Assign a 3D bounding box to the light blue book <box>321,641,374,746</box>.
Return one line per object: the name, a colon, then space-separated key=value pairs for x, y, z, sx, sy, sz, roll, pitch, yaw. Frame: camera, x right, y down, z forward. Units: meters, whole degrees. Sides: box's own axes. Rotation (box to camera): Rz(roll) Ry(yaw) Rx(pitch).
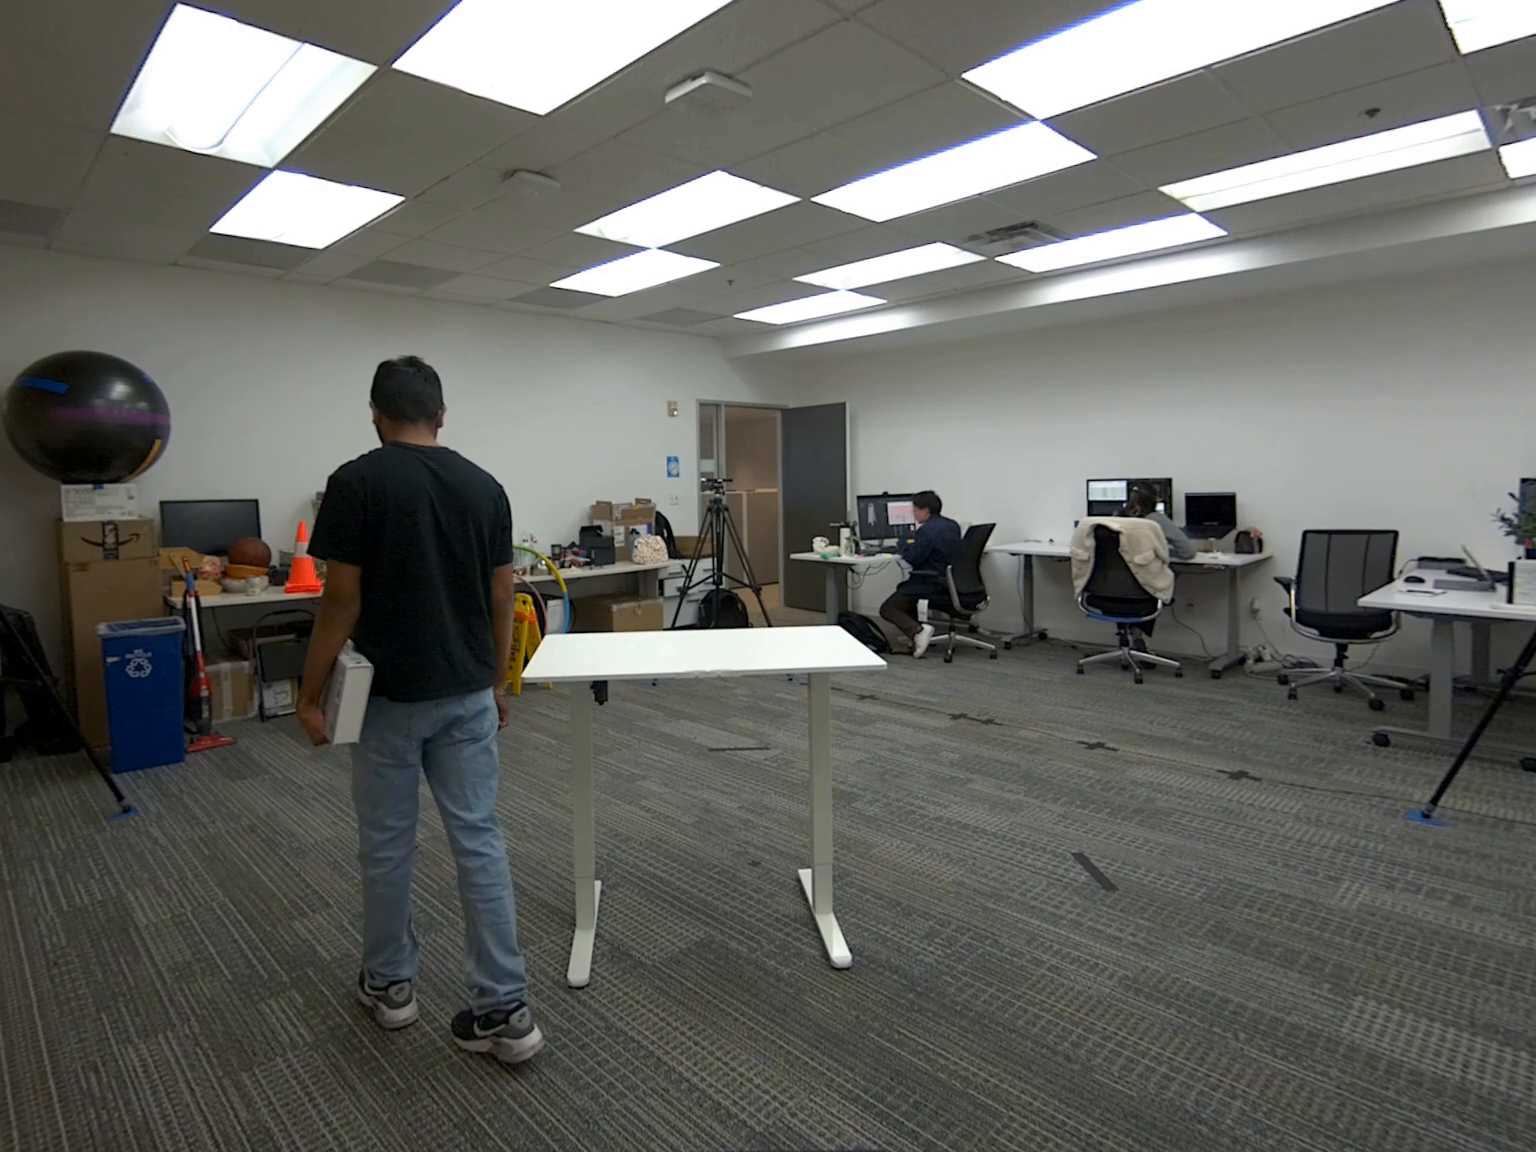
light blue book: x=-1.015 y=0.265 z=2.047 sx=0.057 sy=0.191 sz=0.270 roll=7 pitch=5 yaw=-41
